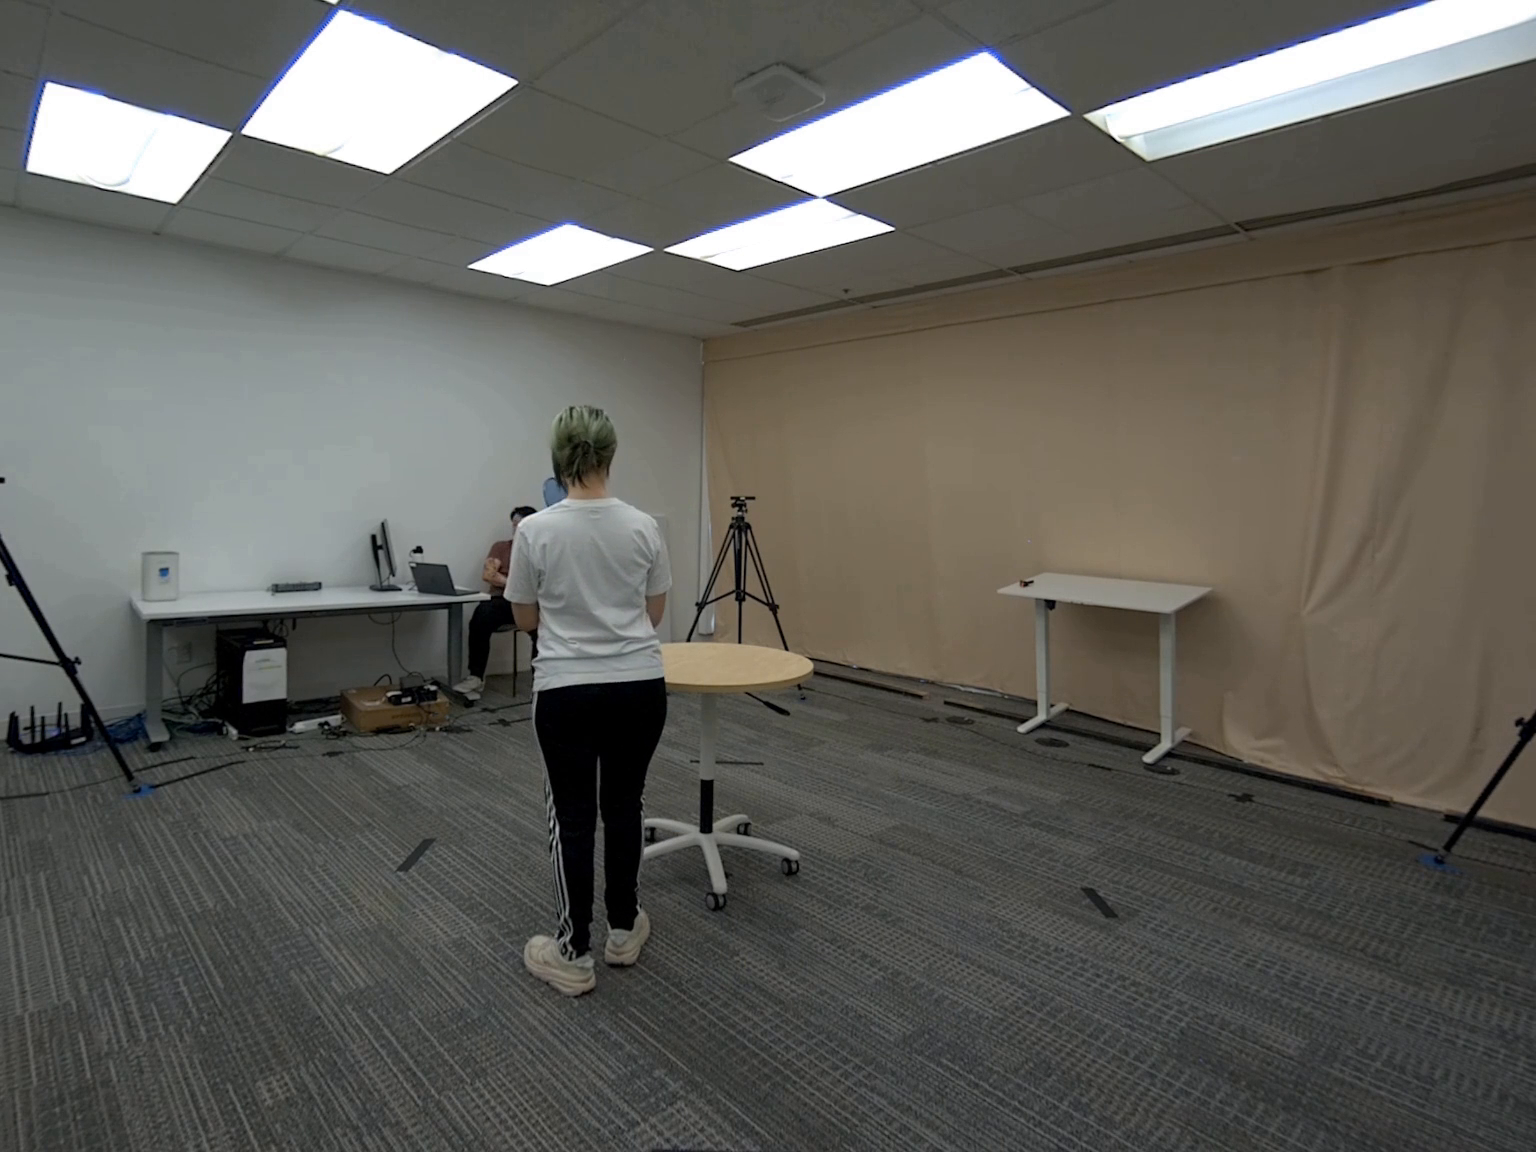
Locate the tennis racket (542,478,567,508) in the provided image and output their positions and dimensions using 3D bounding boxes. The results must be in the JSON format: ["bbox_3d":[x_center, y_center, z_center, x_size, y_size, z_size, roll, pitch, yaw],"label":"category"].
[{"bbox_3d":[-0.639,-0.149,2.740,0.032,0.444,0.207,-31,-35,22],"label":"tennis racket"}]
